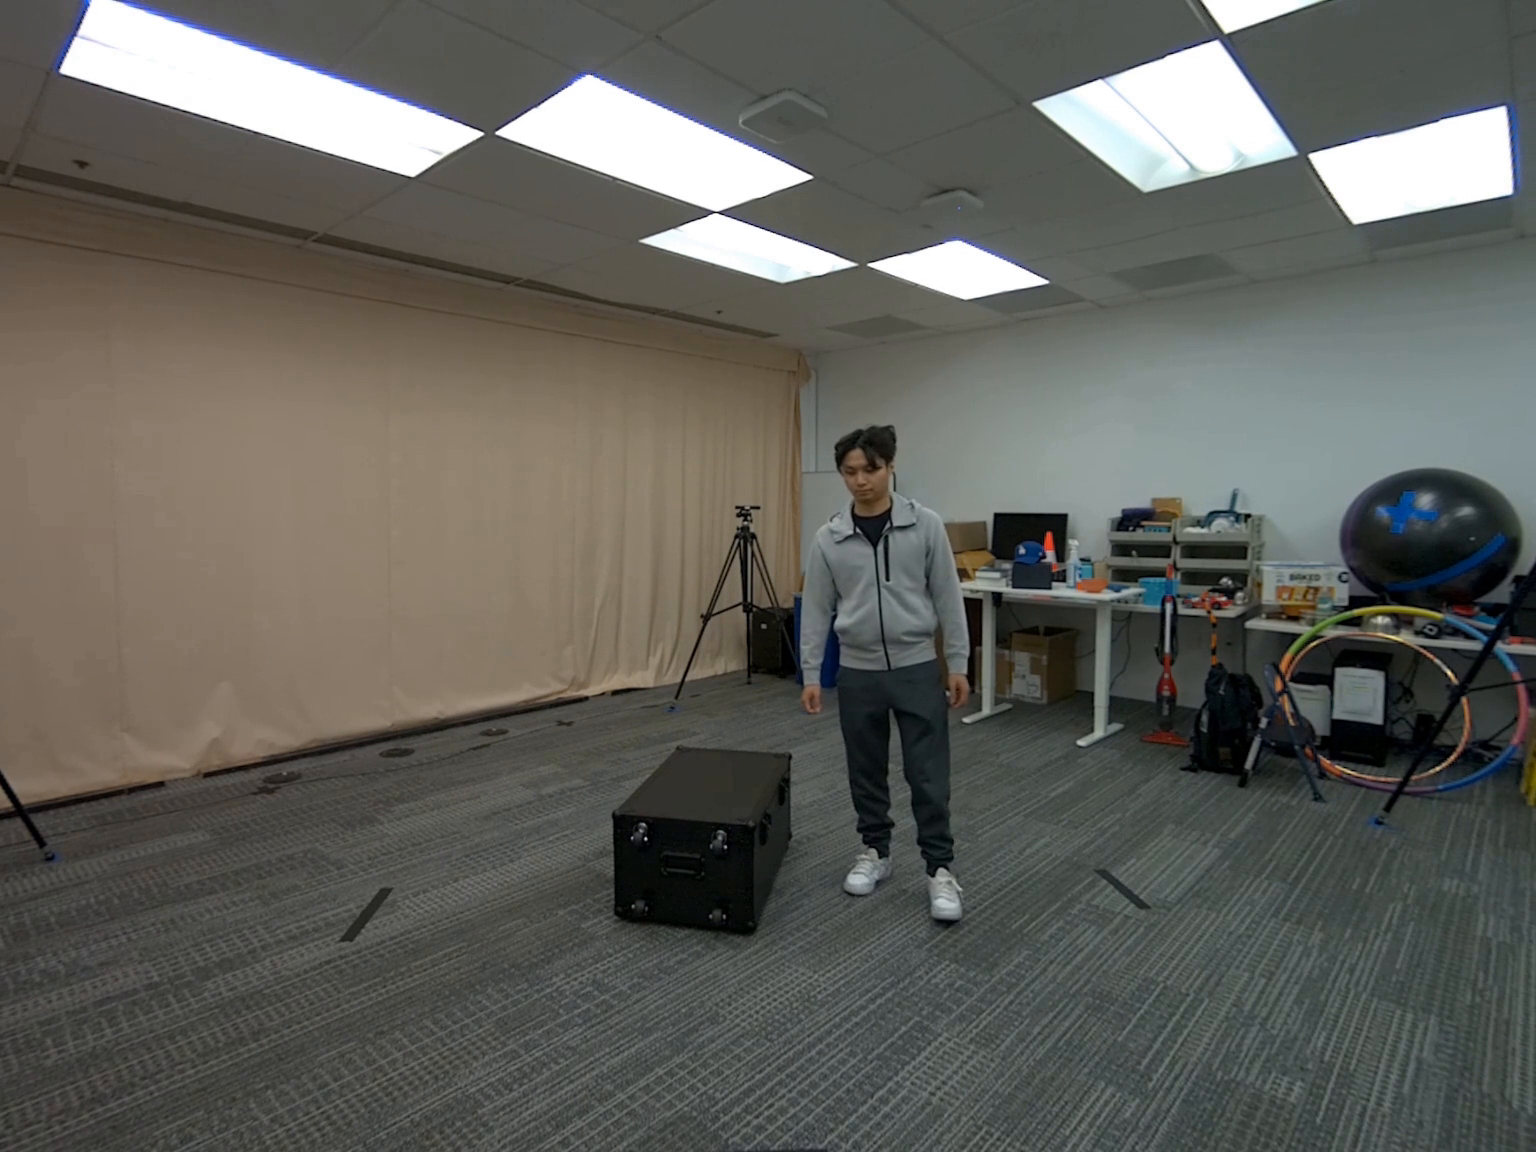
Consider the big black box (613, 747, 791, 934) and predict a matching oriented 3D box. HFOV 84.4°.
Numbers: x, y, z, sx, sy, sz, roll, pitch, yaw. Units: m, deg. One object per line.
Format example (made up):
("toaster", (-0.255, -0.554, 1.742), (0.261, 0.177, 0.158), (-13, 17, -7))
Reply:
("big black box", (-0.216, 0.941, 3.099), (0.528, 0.395, 0.852), (1, 4, 11))
